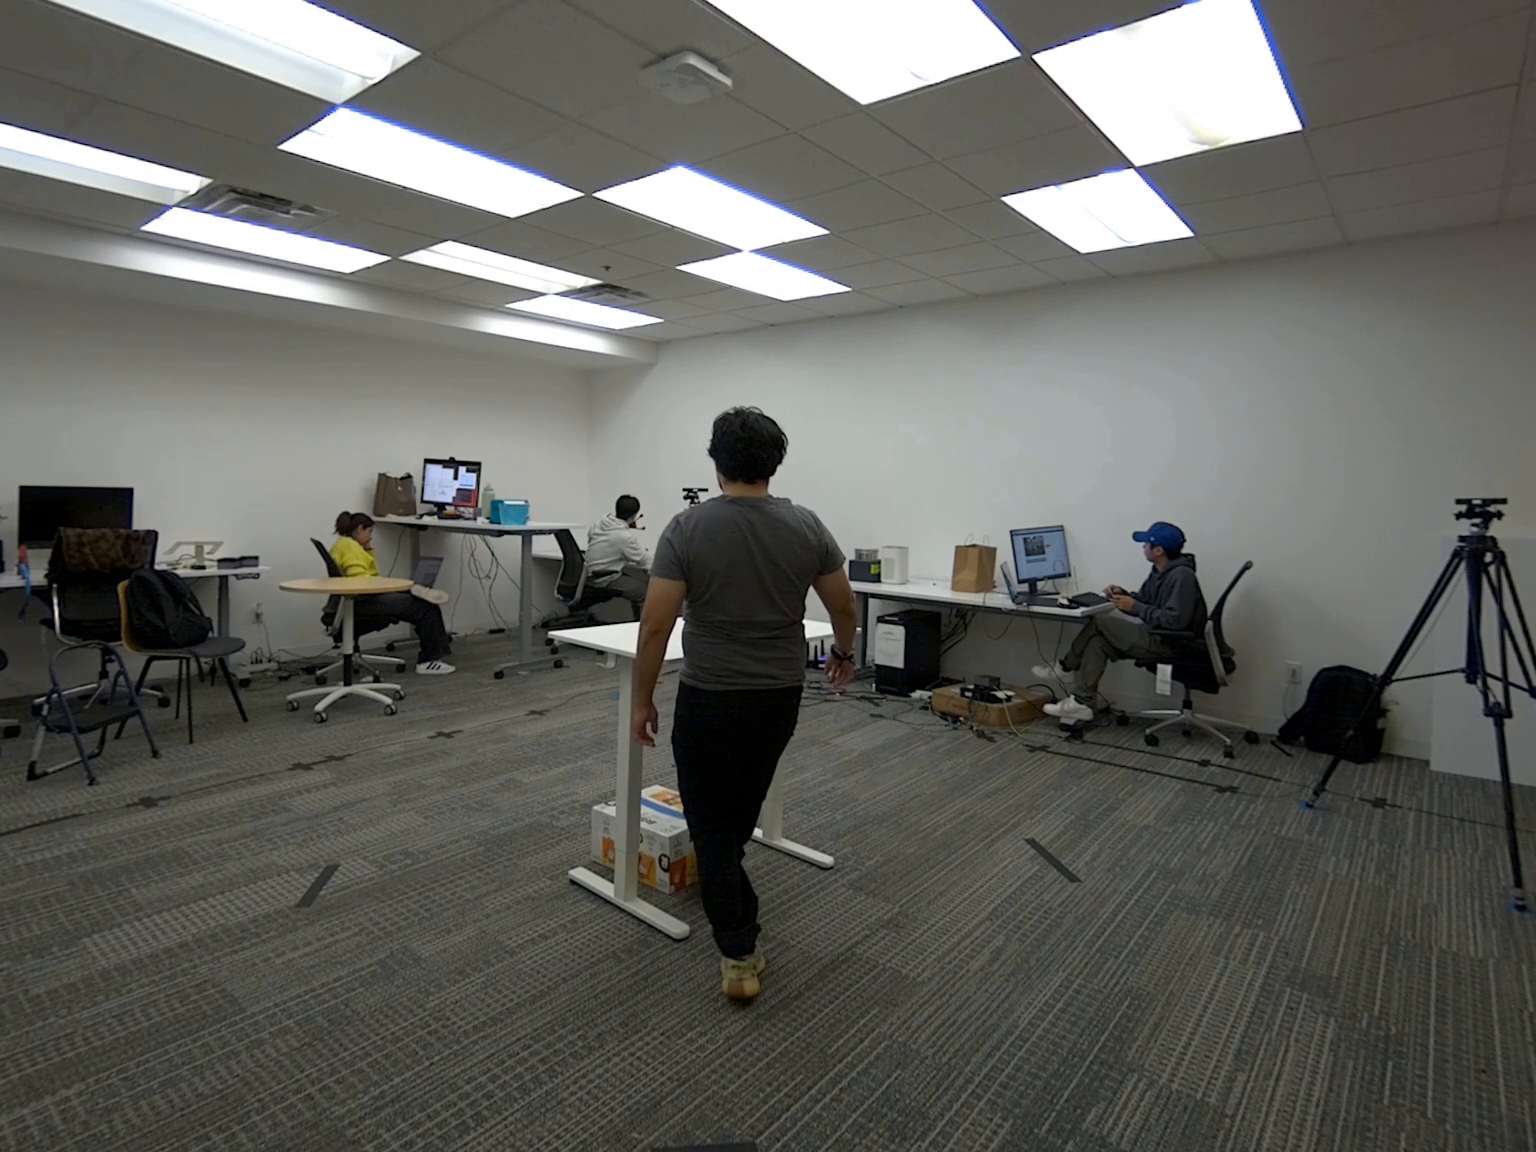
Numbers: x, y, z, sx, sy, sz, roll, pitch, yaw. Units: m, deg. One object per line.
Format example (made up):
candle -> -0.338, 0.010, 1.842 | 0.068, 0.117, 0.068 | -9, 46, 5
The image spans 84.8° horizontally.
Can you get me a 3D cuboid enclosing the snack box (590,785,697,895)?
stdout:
snack box -> -0.403, 0.961, 3.150 | 0.419, 0.205, 0.330 | 5, 6, 39
